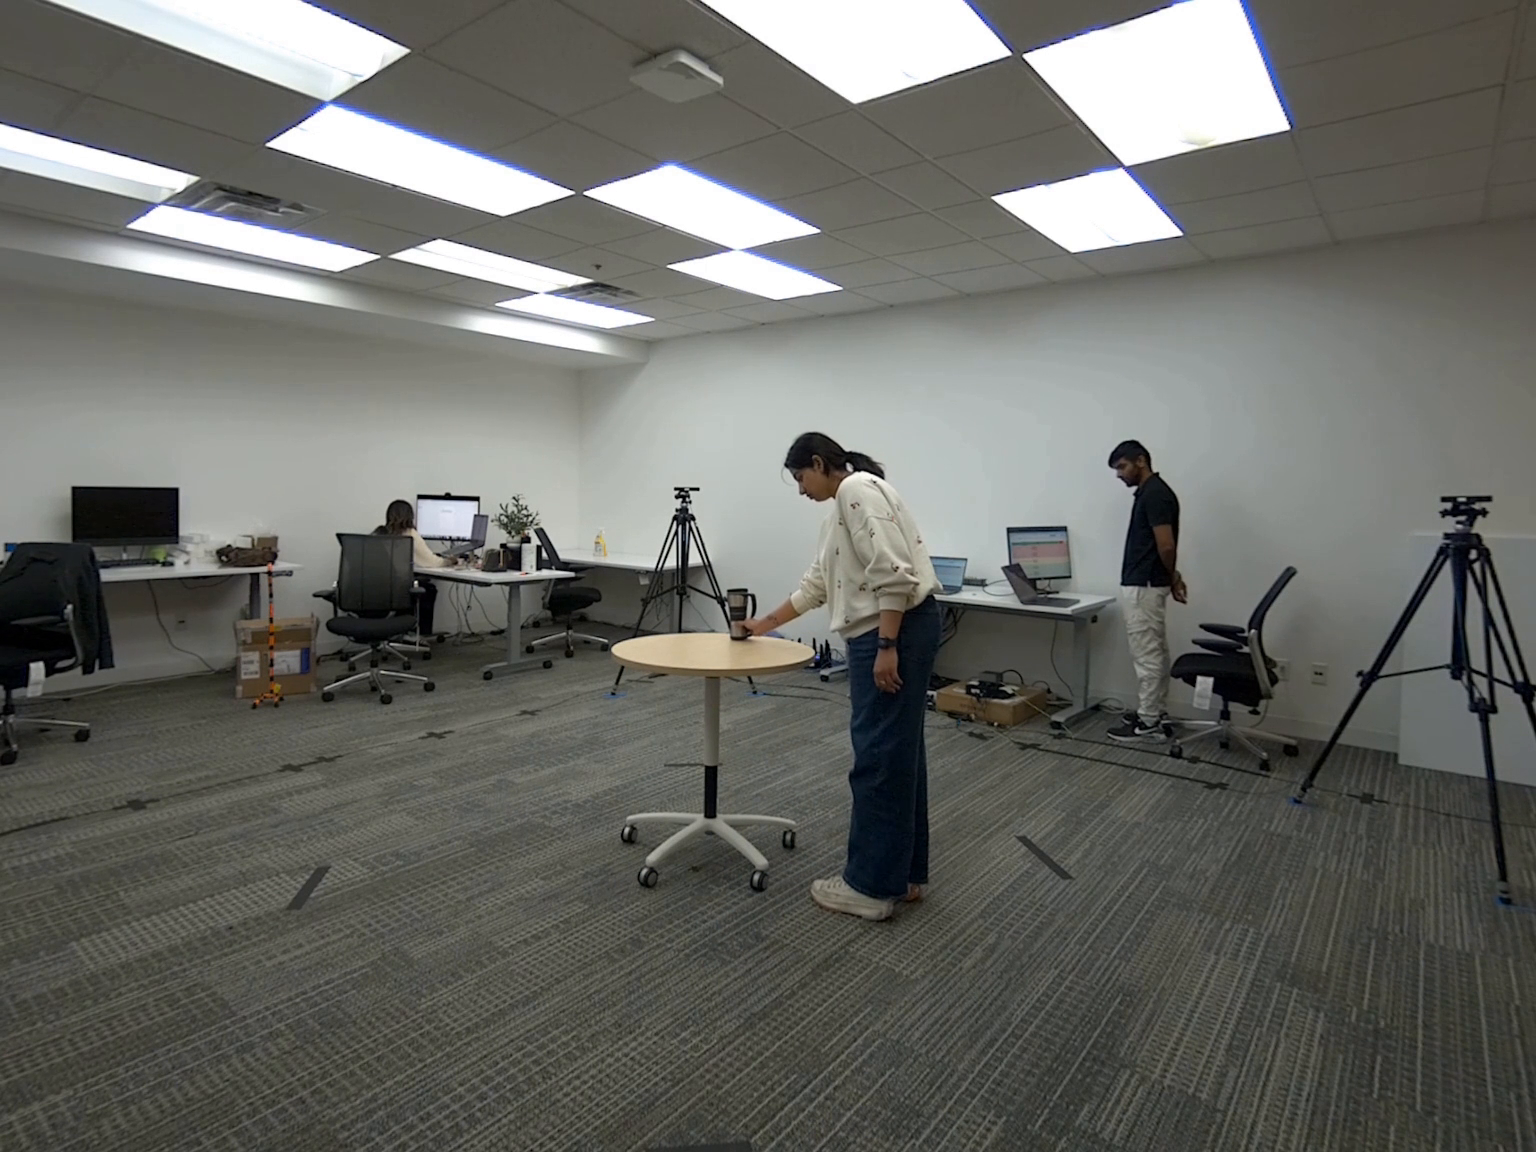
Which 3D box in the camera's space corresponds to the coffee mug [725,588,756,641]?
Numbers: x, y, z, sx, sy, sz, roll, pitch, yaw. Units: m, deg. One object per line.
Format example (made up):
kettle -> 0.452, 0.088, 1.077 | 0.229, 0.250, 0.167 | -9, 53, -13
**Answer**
coffee mug -> -0.137, 0.149, 3.460 | 0.085, 0.202, 0.126 | -1, 6, -38
